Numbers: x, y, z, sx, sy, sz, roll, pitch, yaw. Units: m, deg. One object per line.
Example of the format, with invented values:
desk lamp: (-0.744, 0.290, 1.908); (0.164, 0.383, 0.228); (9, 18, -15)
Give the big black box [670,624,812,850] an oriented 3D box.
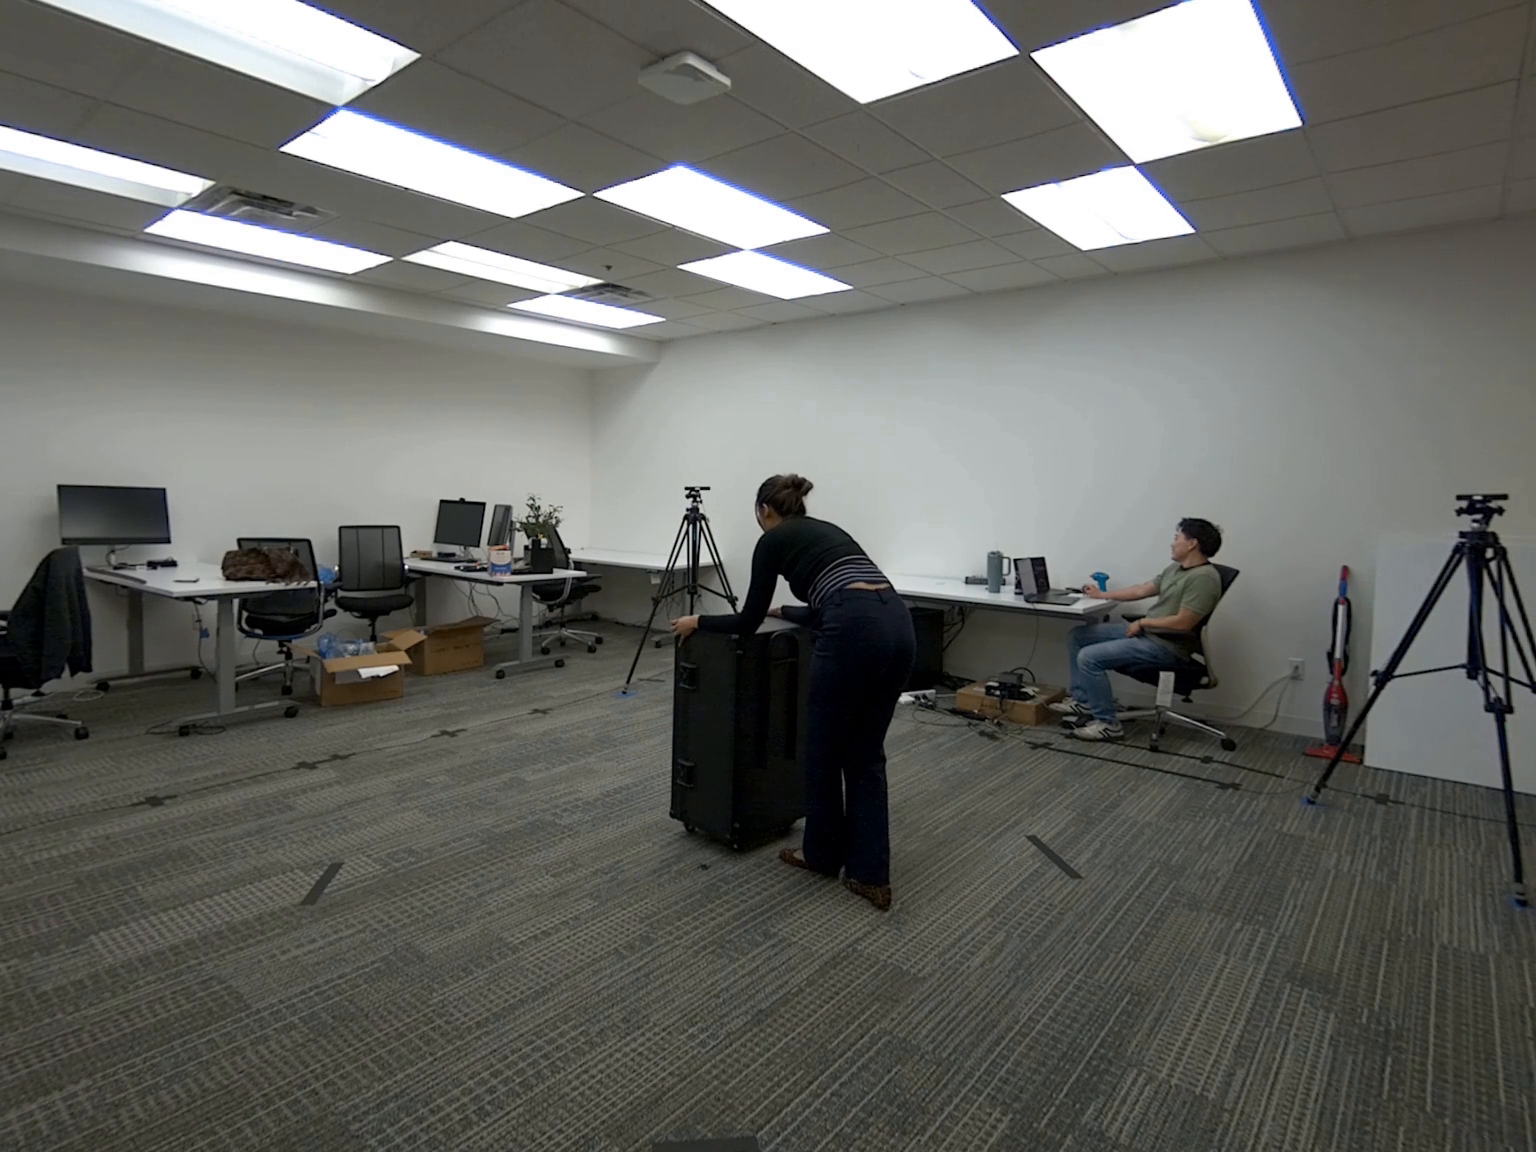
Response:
big black box: (-0.091, 0.612, 3.418); (0.505, 0.858, 0.410); (-2, 6, -45)
